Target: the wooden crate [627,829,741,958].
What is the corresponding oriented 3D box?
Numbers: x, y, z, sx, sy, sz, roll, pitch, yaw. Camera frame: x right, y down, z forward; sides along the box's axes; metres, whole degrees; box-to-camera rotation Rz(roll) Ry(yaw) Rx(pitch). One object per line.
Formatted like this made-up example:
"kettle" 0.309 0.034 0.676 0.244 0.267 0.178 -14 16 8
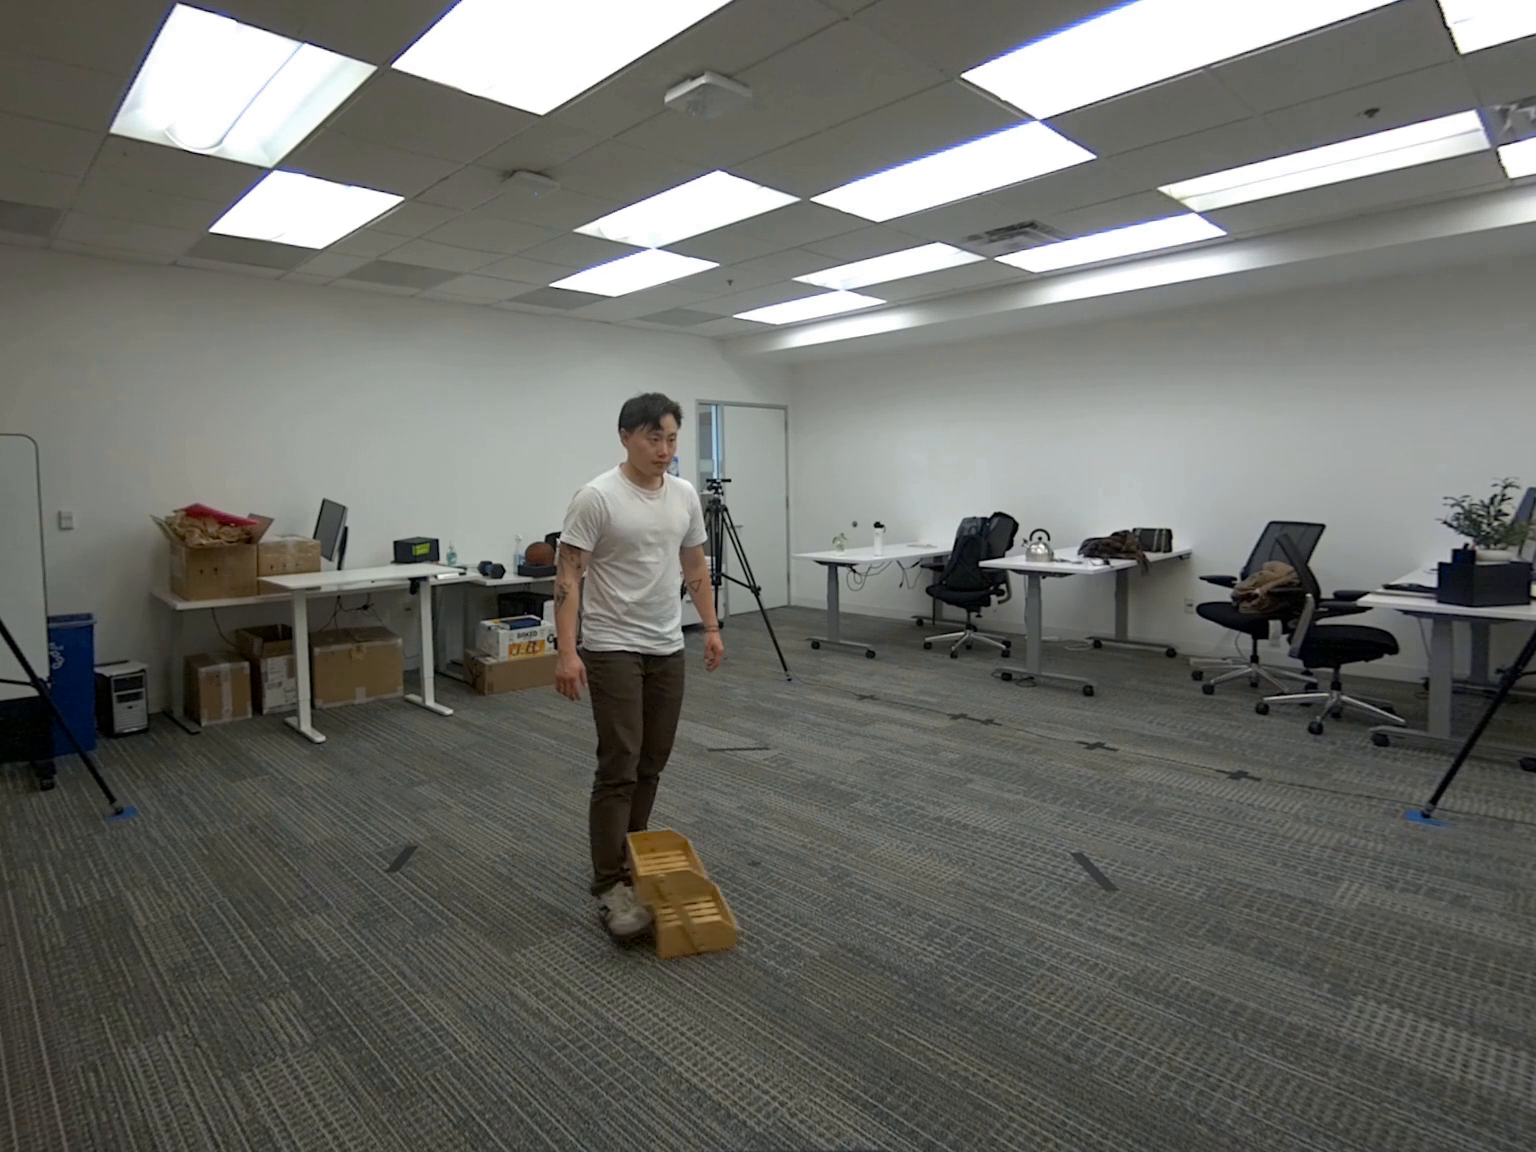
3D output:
"wooden crate" -0.259 0.964 2.669 0.298 0.272 0.330 -3 5 -16
